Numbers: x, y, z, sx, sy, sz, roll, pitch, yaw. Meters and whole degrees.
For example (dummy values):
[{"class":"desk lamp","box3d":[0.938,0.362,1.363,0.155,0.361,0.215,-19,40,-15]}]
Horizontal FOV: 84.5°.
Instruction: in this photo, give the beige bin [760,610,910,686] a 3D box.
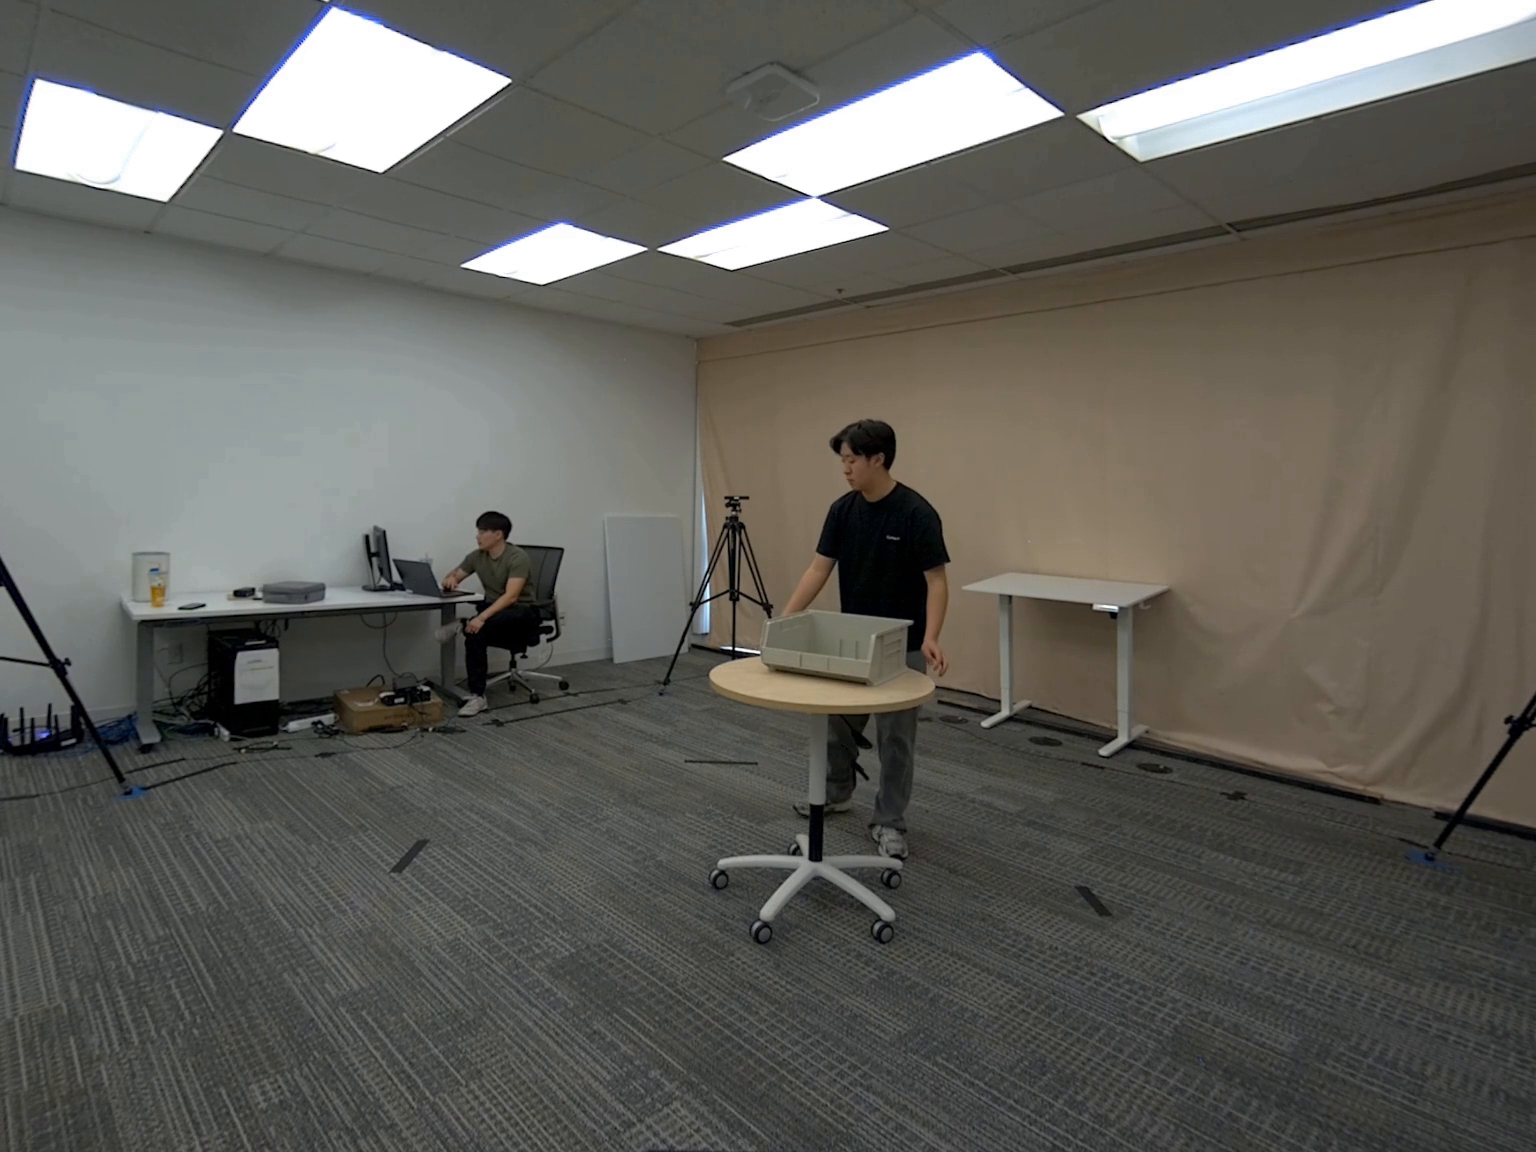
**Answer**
[{"class":"beige bin","box3d":[0.239,0.251,2.975,0.432,0.188,0.370,3,4,31]}]
